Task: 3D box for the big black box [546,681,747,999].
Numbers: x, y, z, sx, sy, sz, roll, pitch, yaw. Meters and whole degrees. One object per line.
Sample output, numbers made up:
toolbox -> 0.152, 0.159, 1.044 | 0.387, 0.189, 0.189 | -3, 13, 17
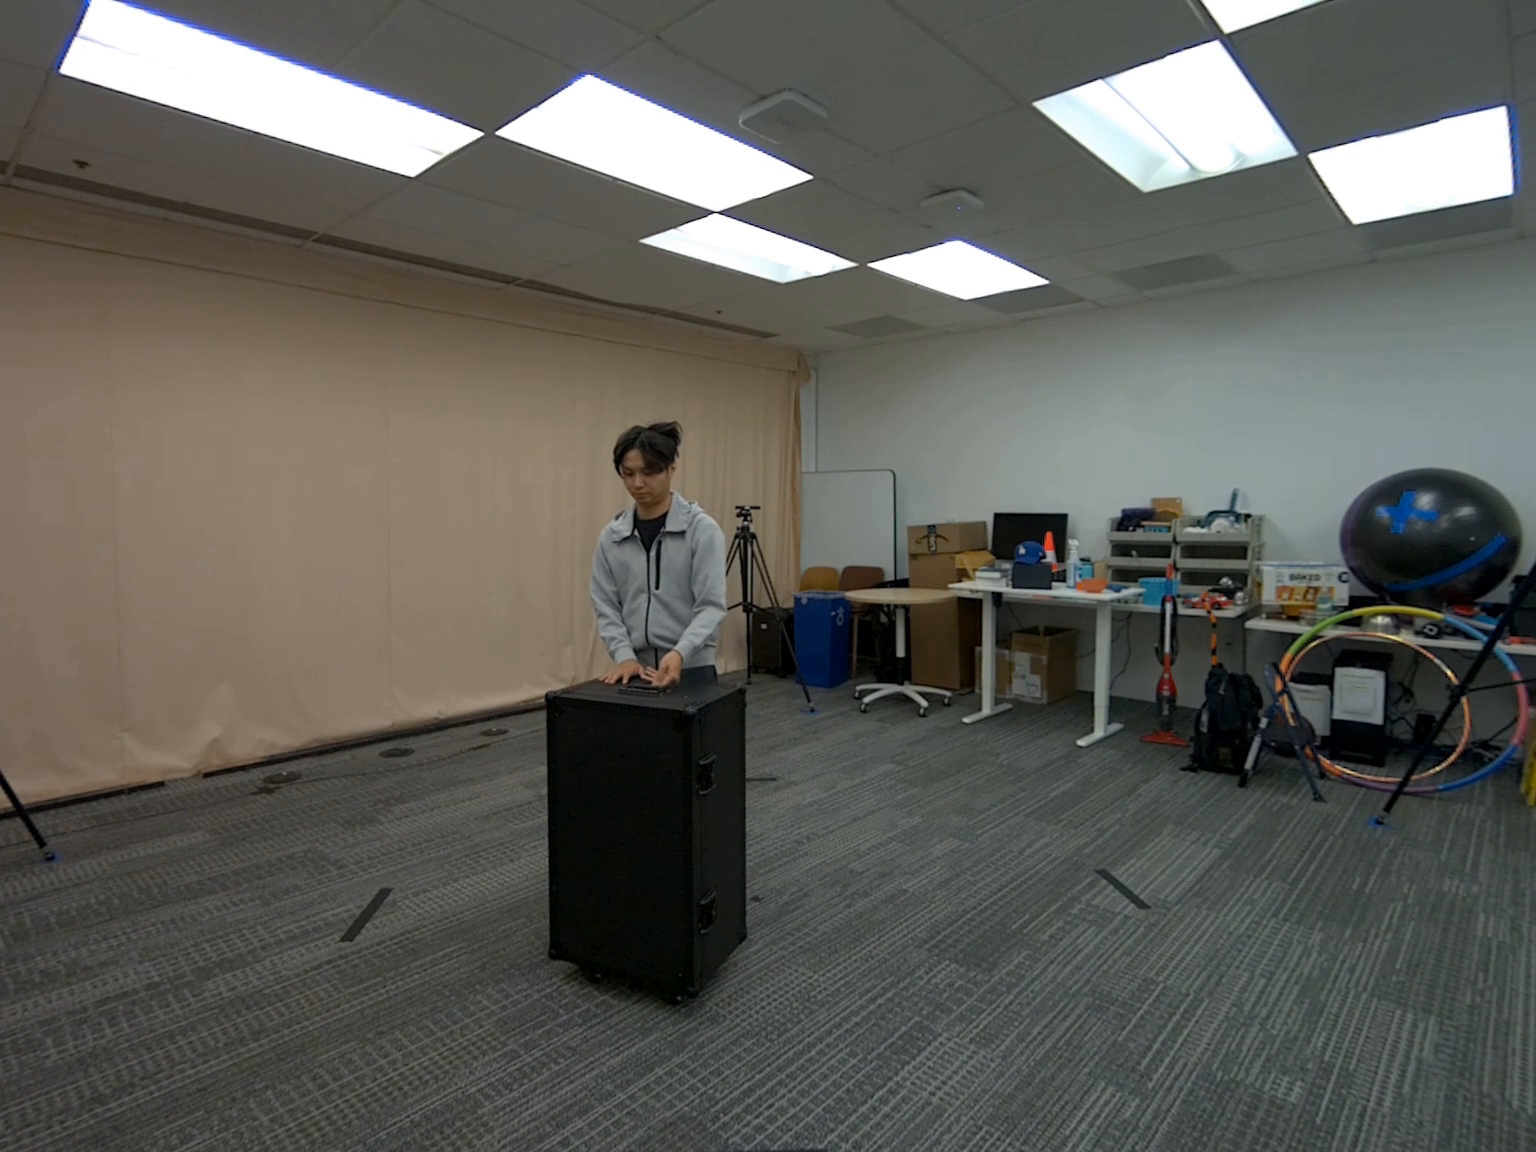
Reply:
big black box -> -0.349, 0.756, 2.517 | 0.534, 0.860, 0.387 | 1, 2, 24
